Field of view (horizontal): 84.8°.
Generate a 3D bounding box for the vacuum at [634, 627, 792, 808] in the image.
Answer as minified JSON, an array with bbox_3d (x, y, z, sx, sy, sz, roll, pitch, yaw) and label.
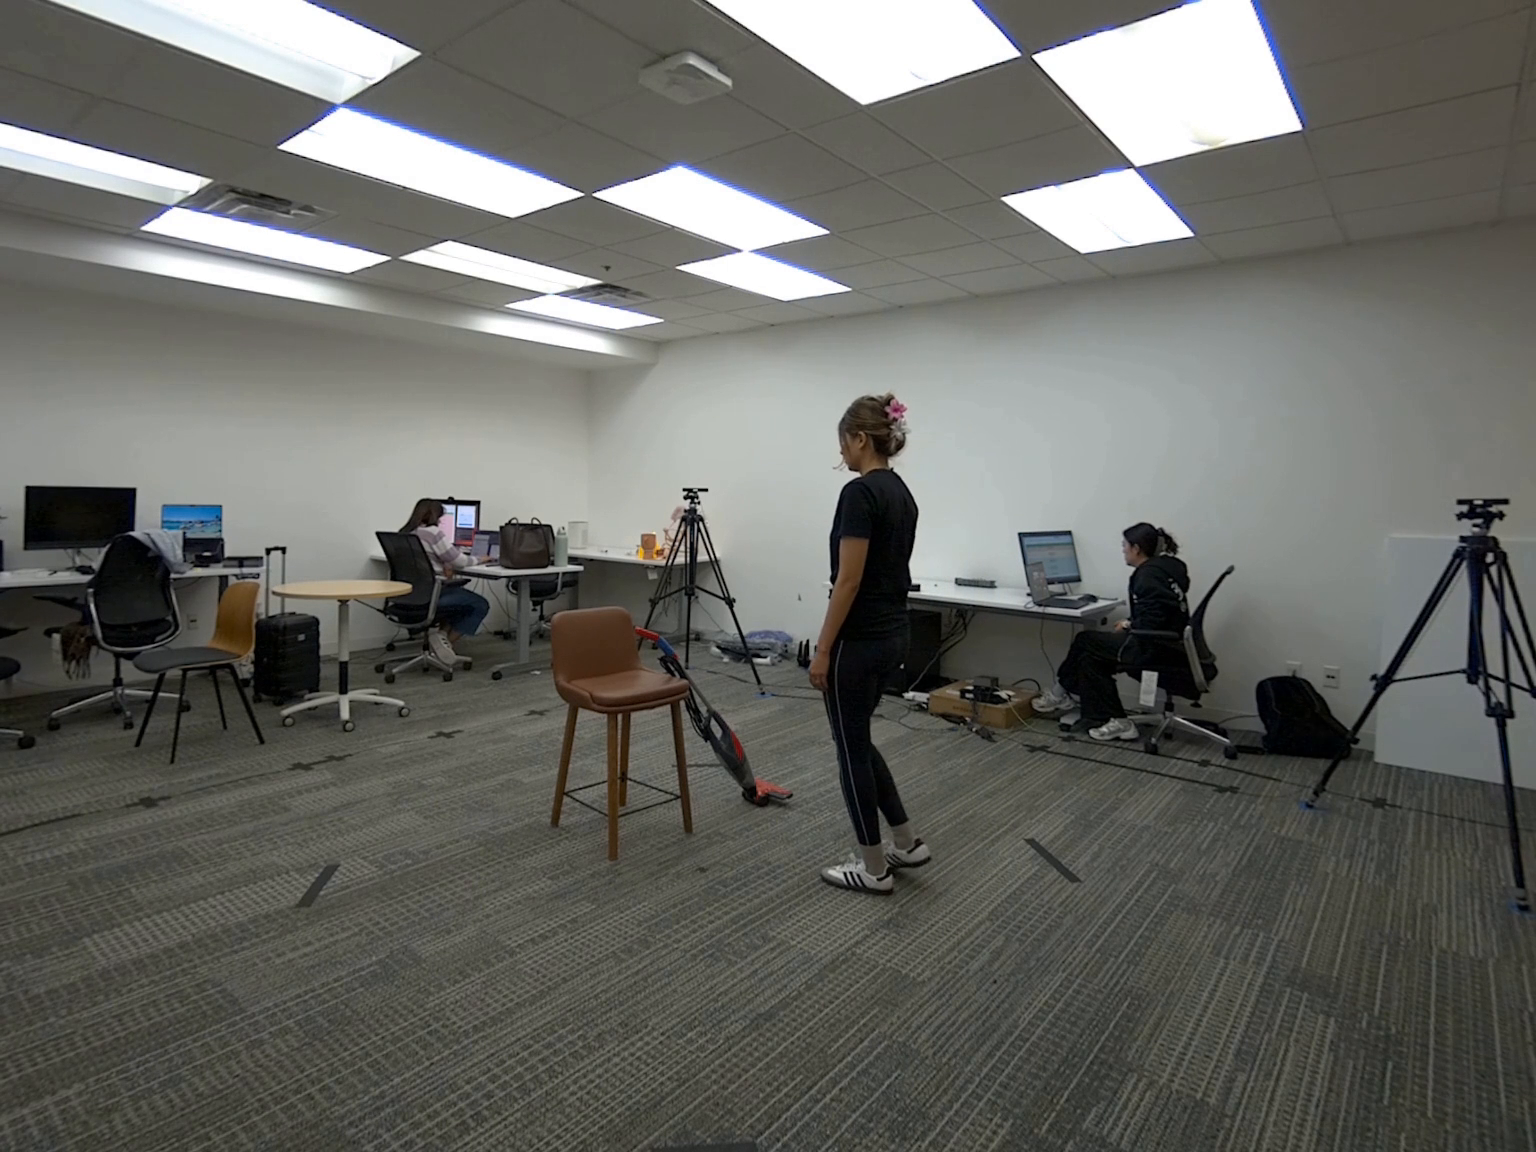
[{"bbox_3d":[-0.268,0.600,3.619,0.260,1.017,0.144,0,41,49],"label":"vacuum"}]
